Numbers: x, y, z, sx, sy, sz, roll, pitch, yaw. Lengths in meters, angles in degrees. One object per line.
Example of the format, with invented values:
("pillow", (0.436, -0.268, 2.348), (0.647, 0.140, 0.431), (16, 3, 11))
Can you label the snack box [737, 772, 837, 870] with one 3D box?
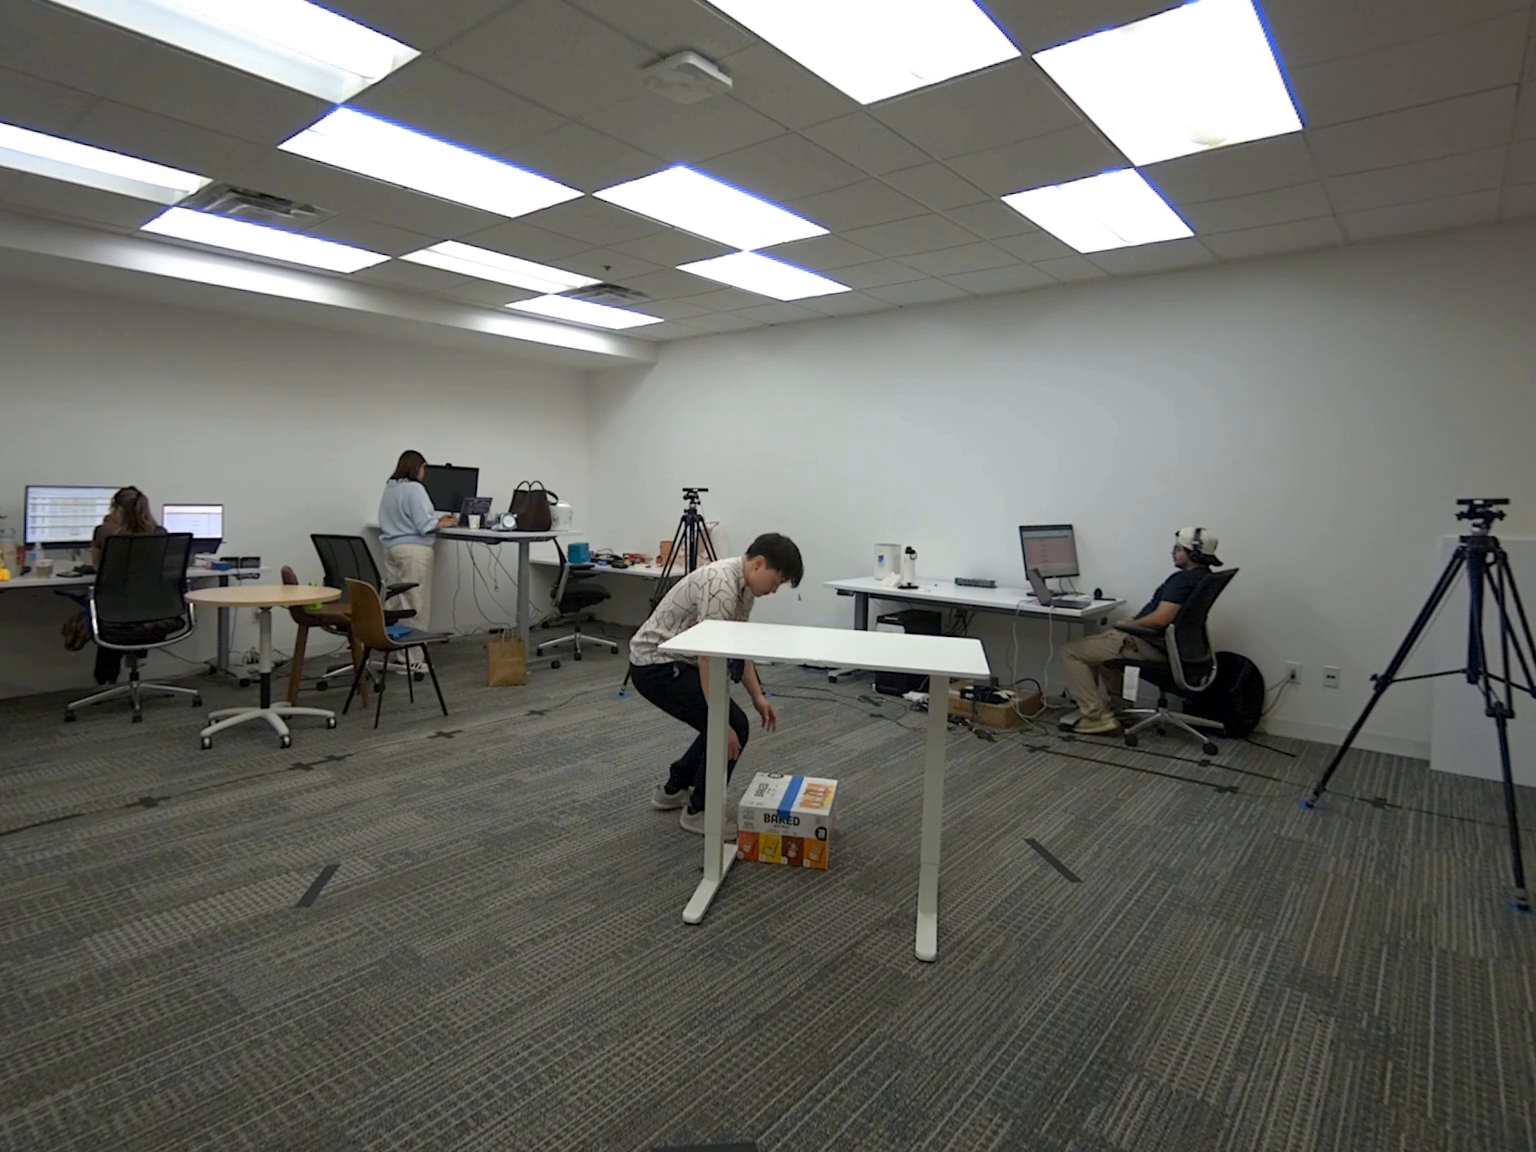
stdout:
("snack box", (0.079, 0.950, 3.351), (0.345, 0.205, 0.401), (2, 5, 11))
